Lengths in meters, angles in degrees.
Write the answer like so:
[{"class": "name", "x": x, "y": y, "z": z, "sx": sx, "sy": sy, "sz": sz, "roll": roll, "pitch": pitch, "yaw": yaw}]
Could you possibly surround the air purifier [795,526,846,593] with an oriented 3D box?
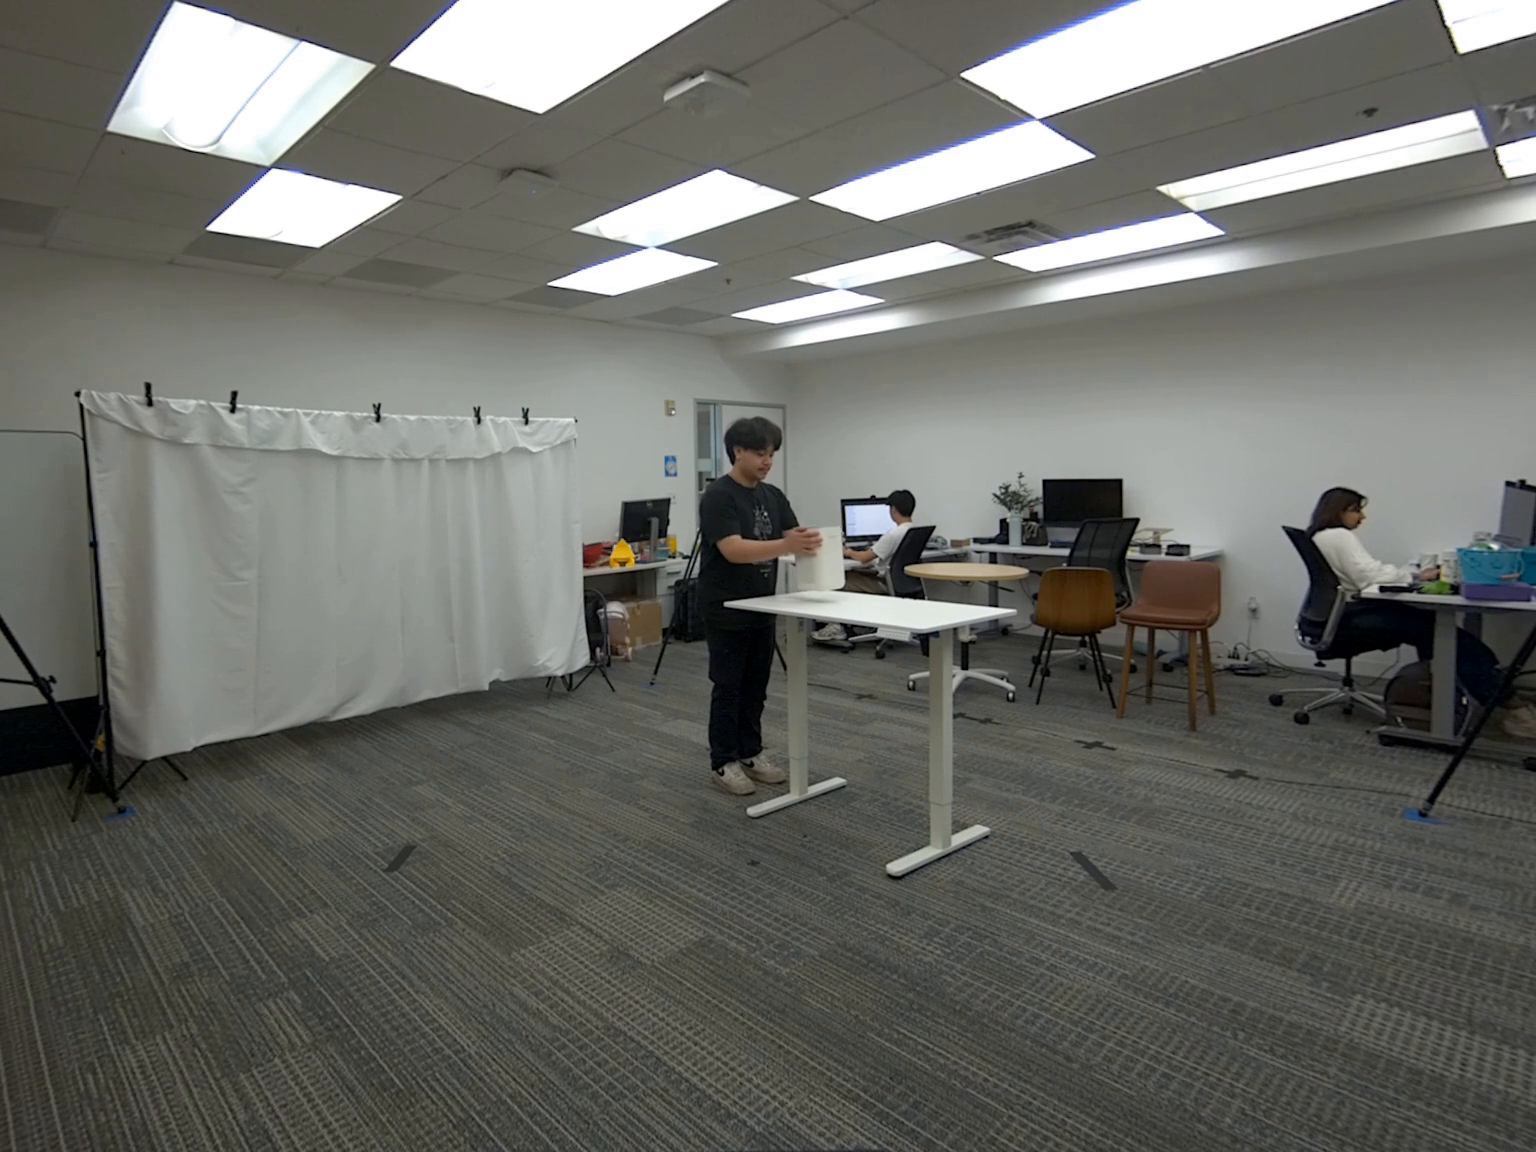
[{"class": "air purifier", "x": 0.204, "y": -0.069, "z": 3.551, "sx": 0.166, "sy": 0.265, "sz": 0.176, "roll": -4, "pitch": 1, "yaw": -43}]
